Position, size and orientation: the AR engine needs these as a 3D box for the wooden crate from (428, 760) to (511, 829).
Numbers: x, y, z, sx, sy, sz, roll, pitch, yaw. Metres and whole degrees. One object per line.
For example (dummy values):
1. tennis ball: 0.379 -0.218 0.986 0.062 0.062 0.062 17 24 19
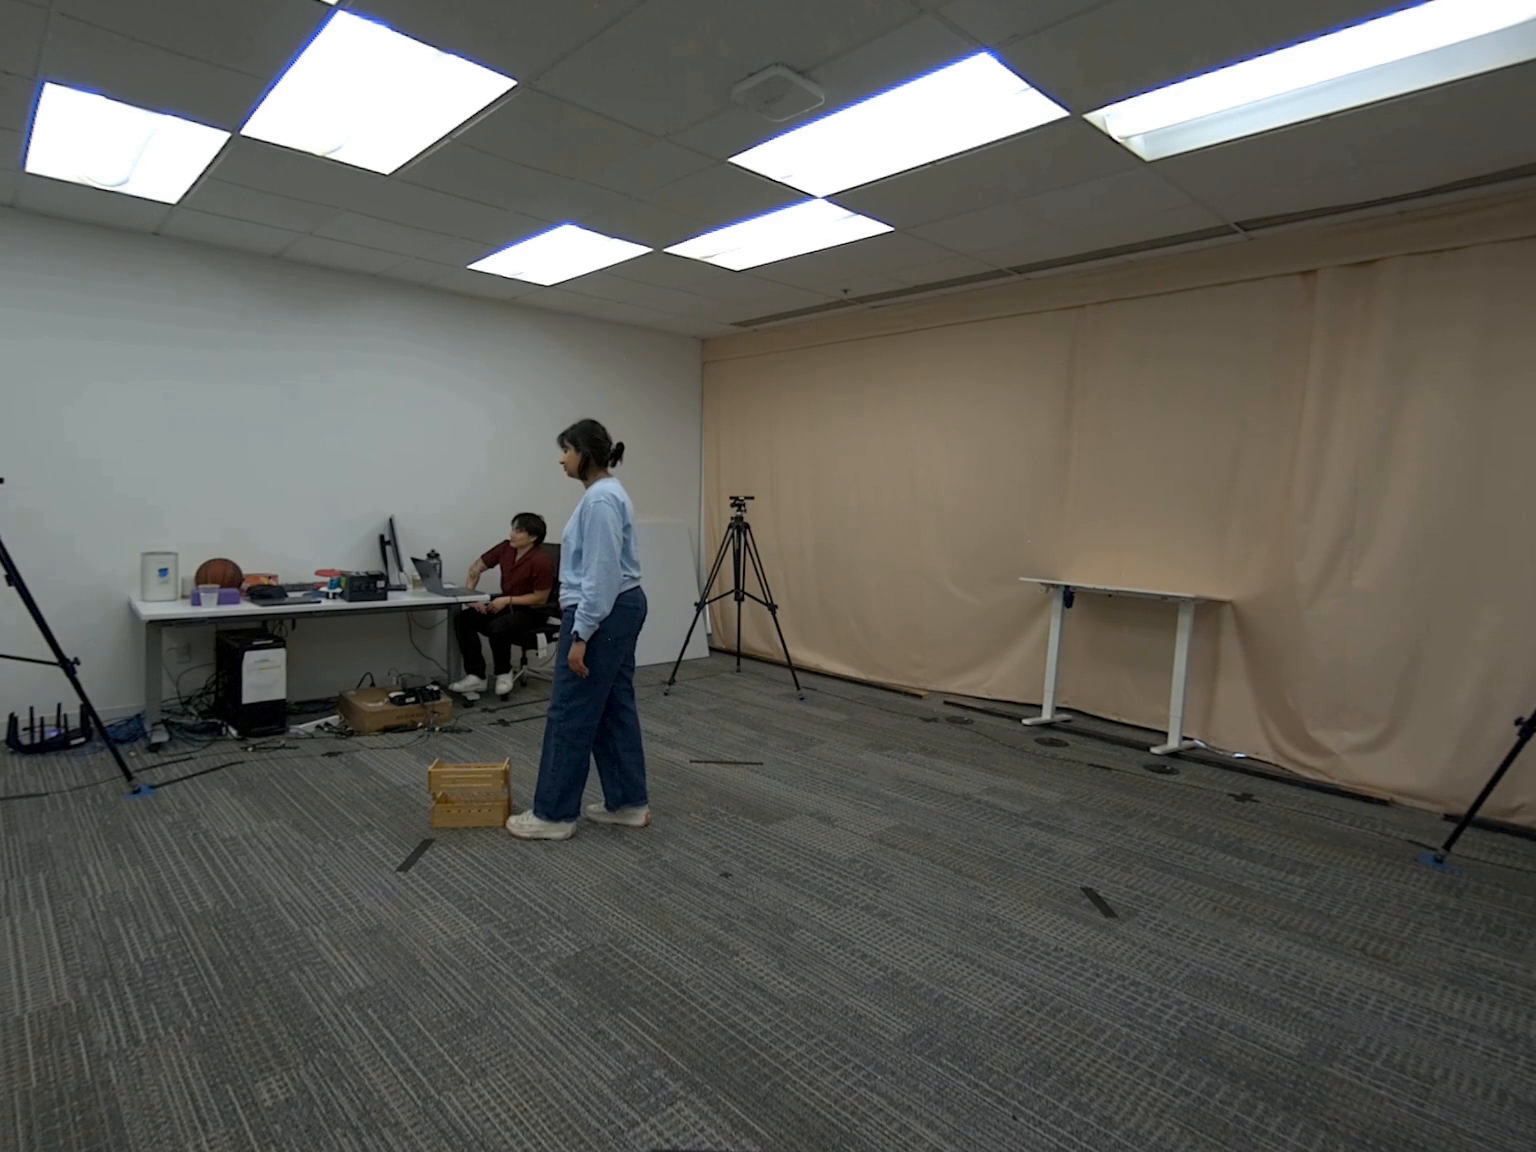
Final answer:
1. wooden crate: -1.264 0.898 3.598 0.322 0.272 0.305 1 5 -8
